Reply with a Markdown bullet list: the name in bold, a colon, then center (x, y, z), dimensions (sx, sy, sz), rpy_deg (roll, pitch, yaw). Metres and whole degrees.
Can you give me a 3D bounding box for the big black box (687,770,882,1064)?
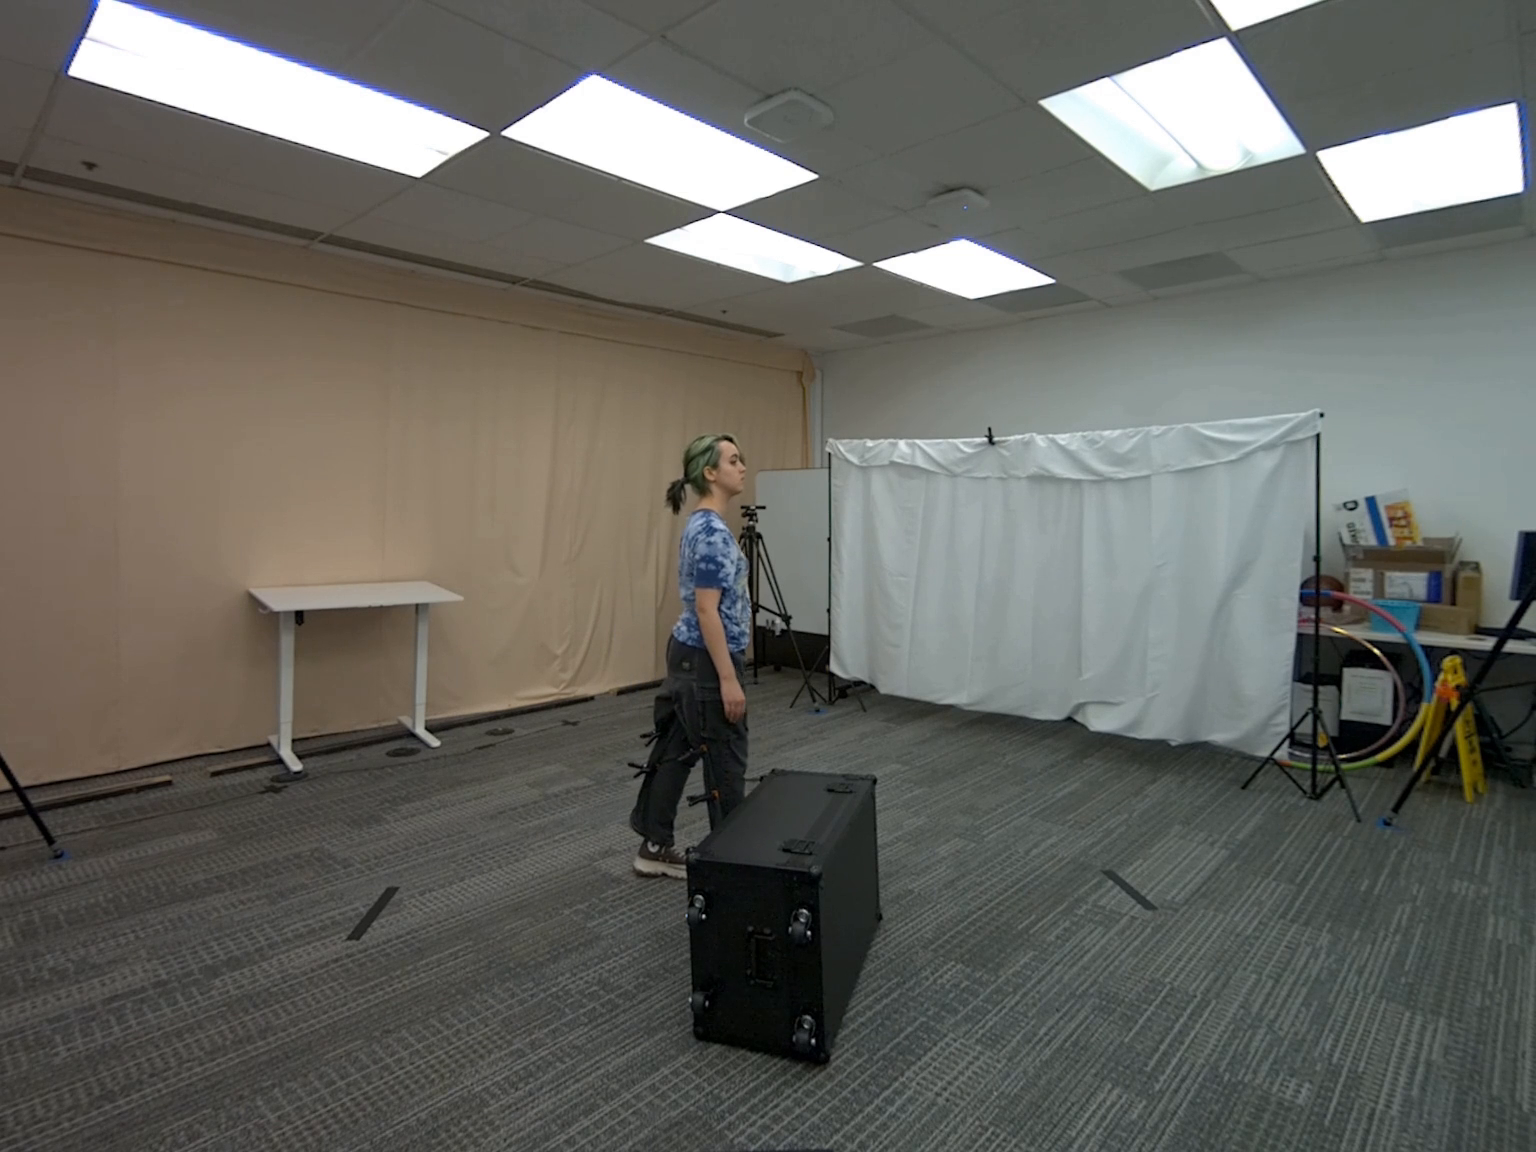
- **big black box**: center (0.060, 0.932, 2.461), dimensions (0.404, 0.520, 0.845), rpy_deg (-2, 3, 19)
